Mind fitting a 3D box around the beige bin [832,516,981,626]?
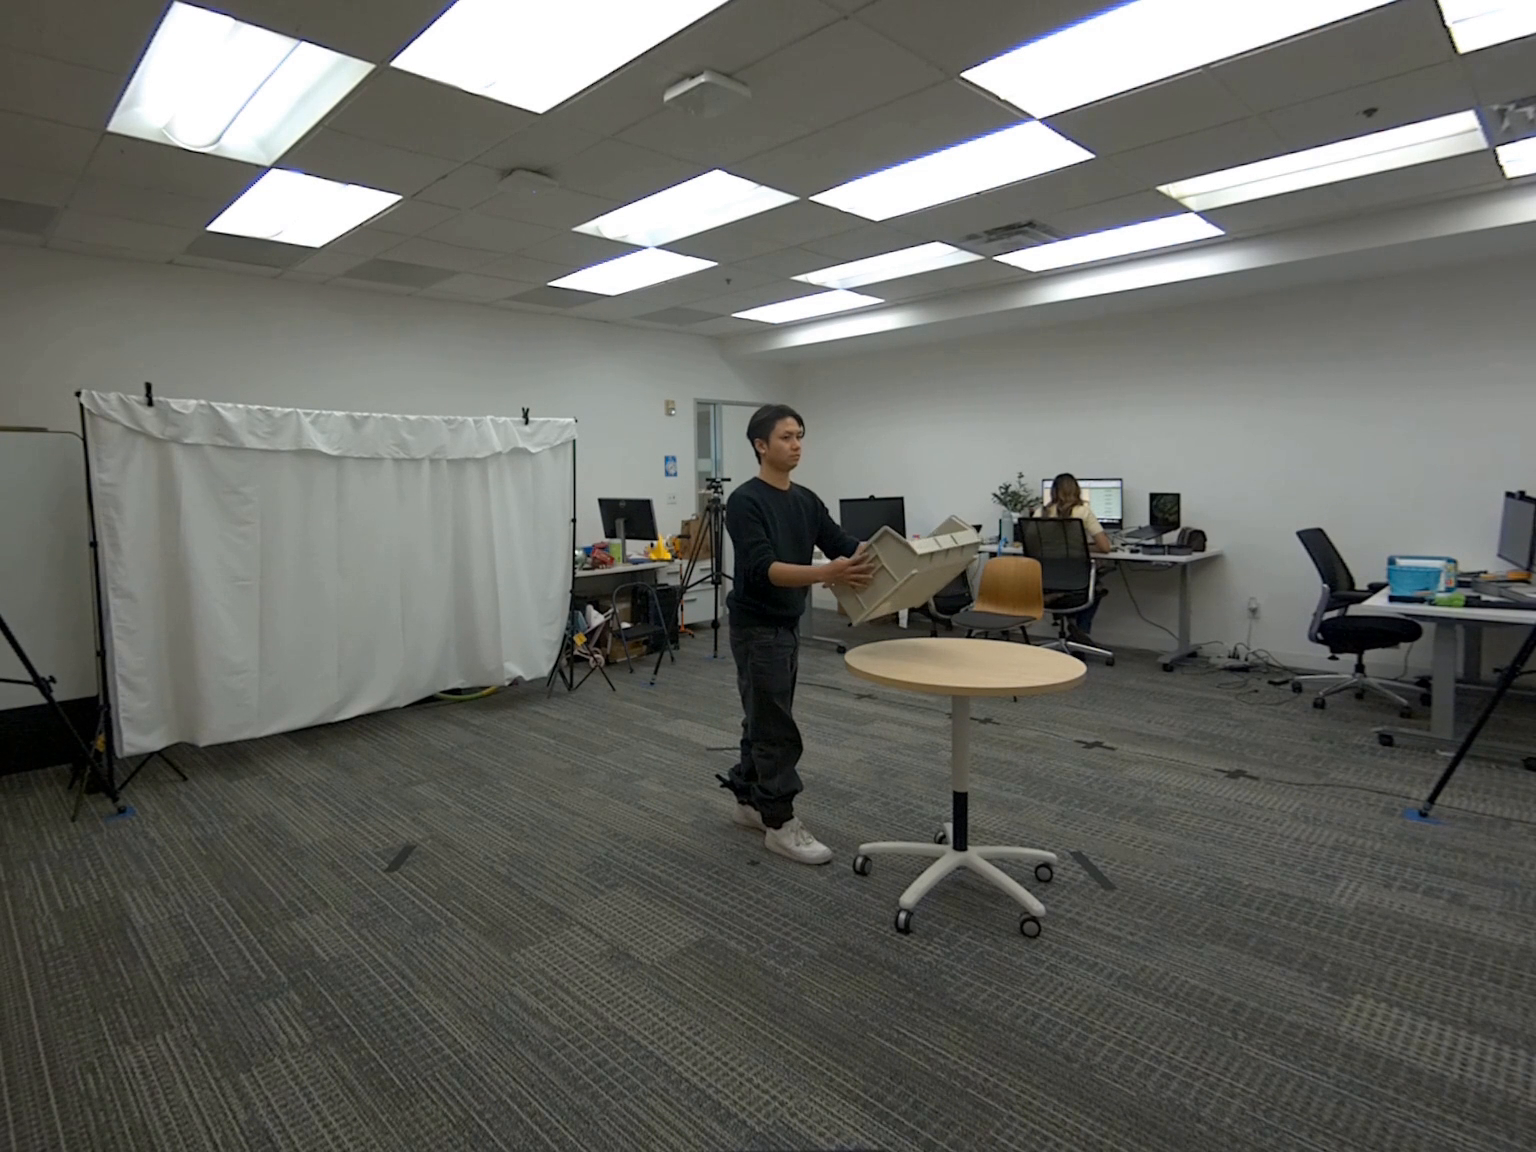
[{"bbox_3d":[0.479,-0.028,2.930,0.412,0.194,0.377,-12,-27,-46],"label":"beige bin"}]
